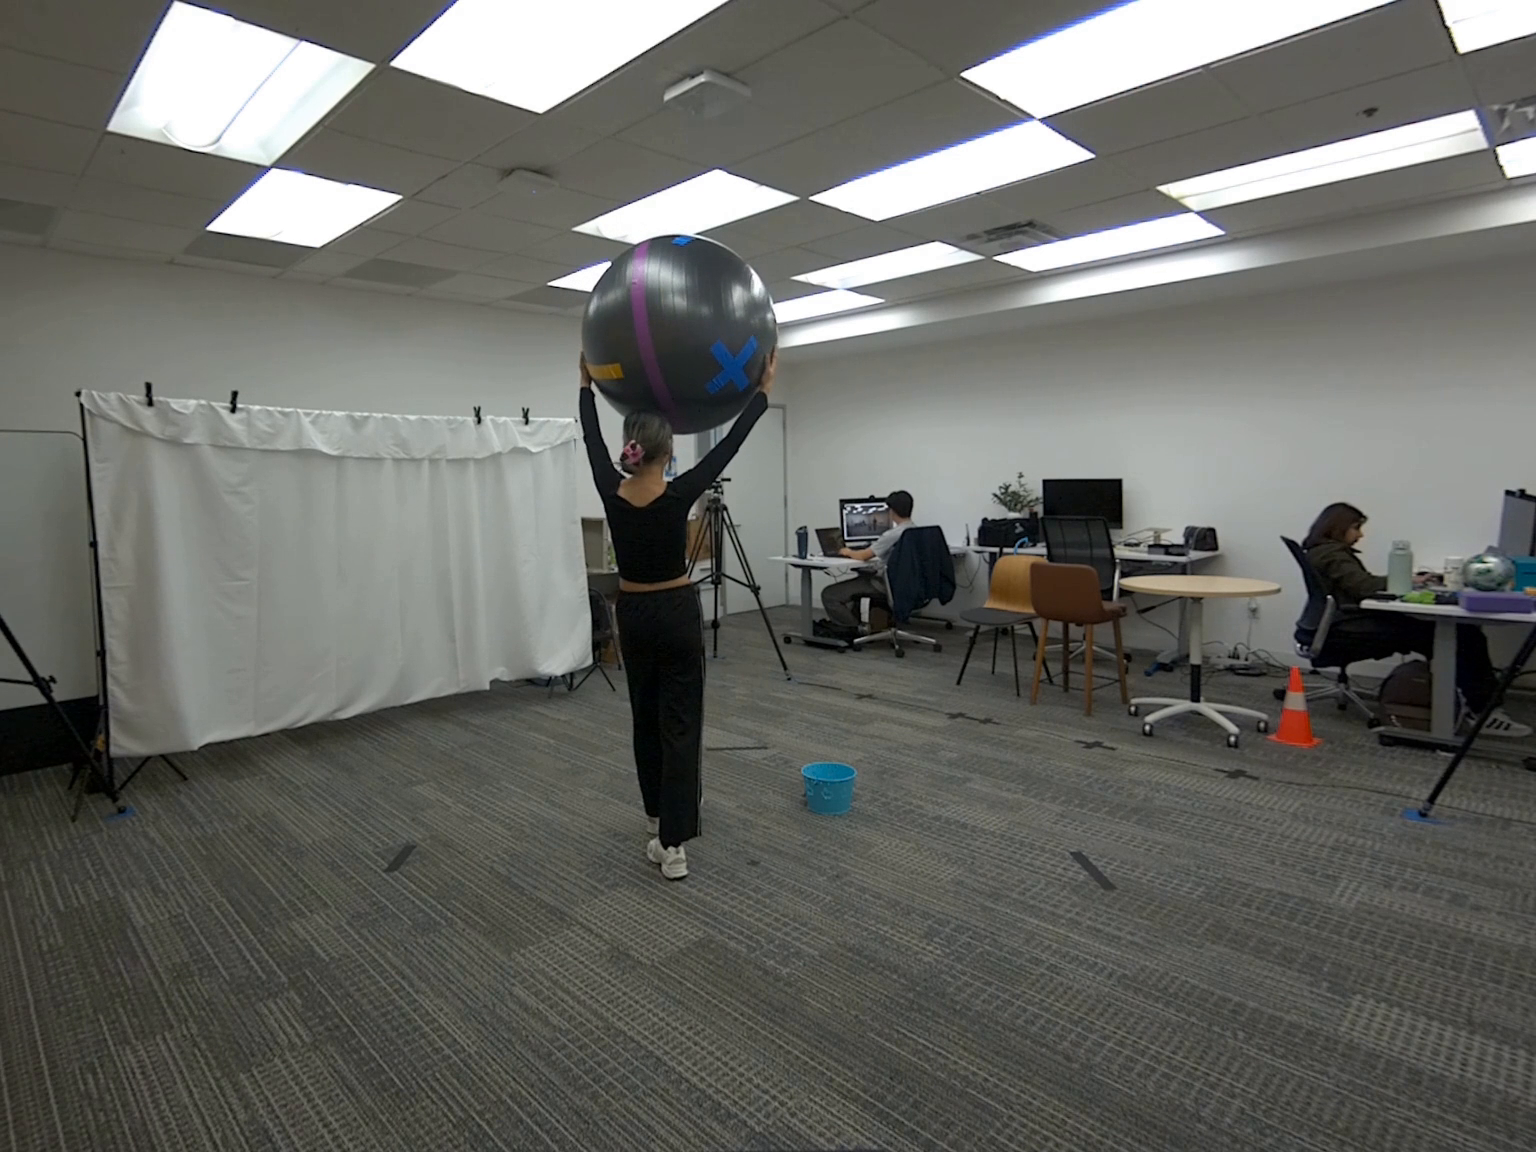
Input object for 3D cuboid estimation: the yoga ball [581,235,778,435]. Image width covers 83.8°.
[{"bbox_3d":[-0.341,-0.919,3.317,0.757,0.755,0.762,-1,5,-2],"label":"yoga ball"}]
